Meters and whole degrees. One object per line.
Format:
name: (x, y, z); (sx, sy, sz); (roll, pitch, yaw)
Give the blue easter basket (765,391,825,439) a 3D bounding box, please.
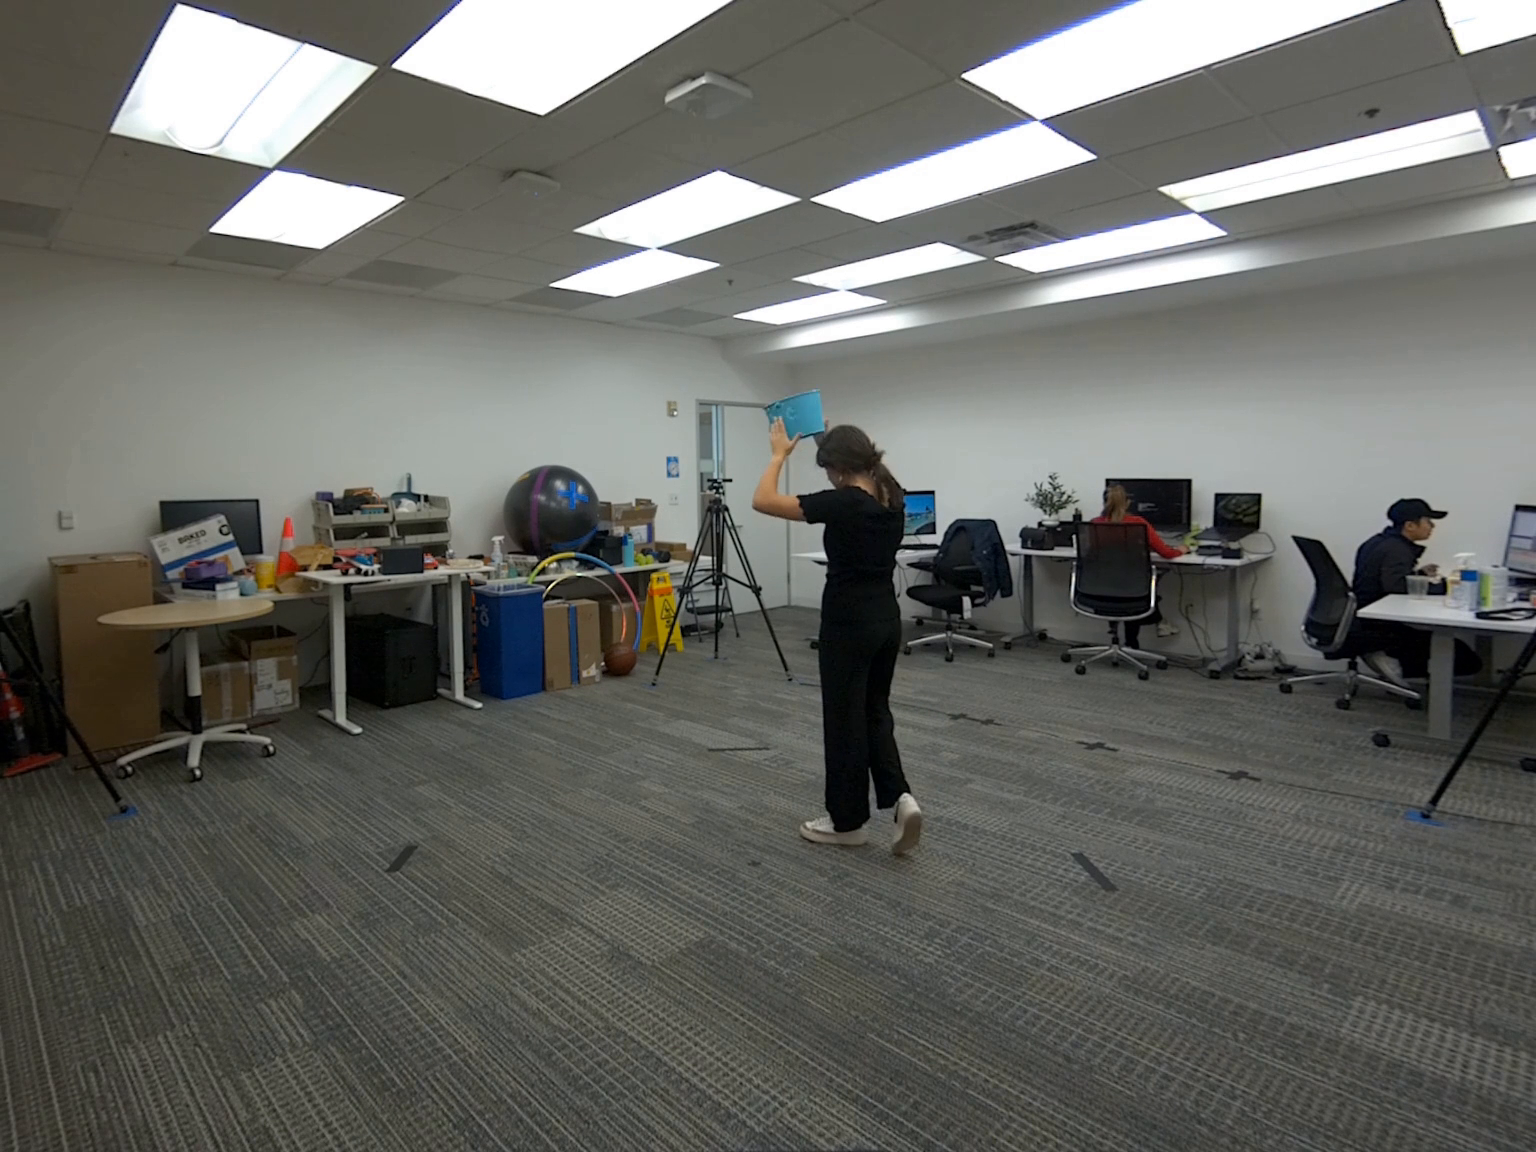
blue easter basket: (0.118, -0.602, 3.291); (0.243, 0.155, 0.244); (-16, 3, -1)
